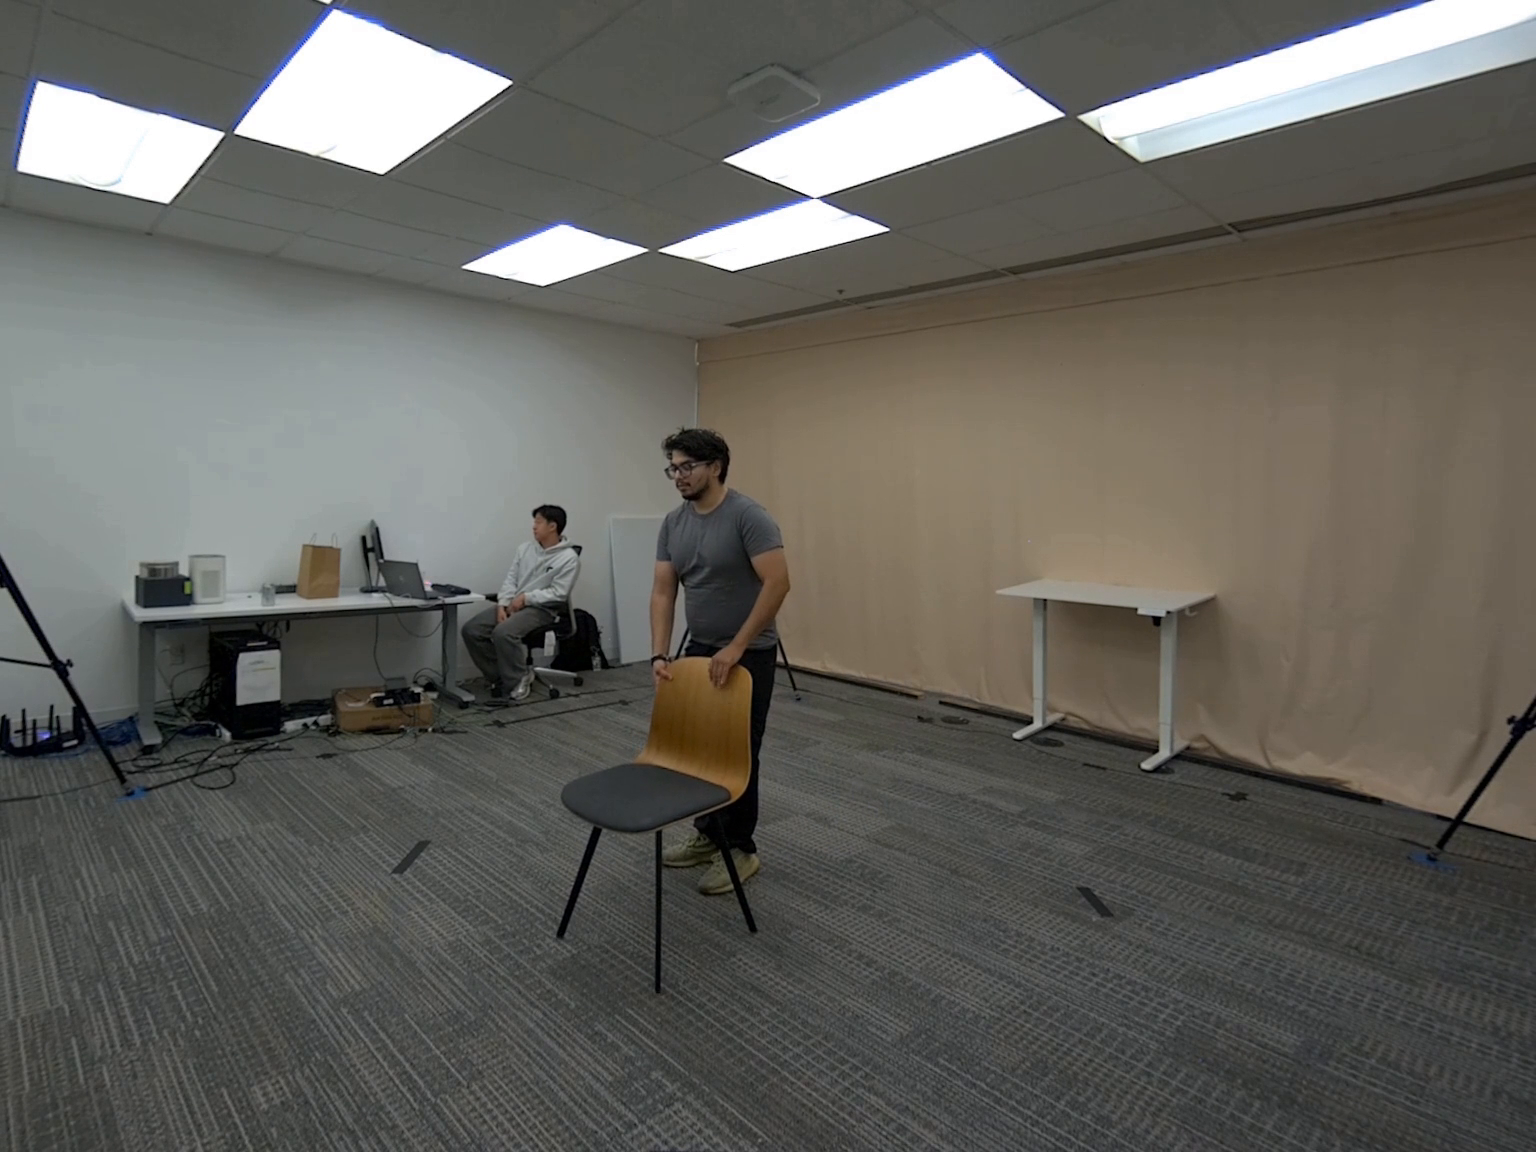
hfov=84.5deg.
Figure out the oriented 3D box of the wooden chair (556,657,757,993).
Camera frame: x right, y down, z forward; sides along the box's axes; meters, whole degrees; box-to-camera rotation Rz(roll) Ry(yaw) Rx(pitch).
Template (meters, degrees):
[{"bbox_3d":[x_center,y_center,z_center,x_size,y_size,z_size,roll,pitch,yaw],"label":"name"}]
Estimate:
[{"bbox_3d":[-0.348,0.717,2.627,0.490,0.877,0.510,4,0,39],"label":"wooden chair"}]
